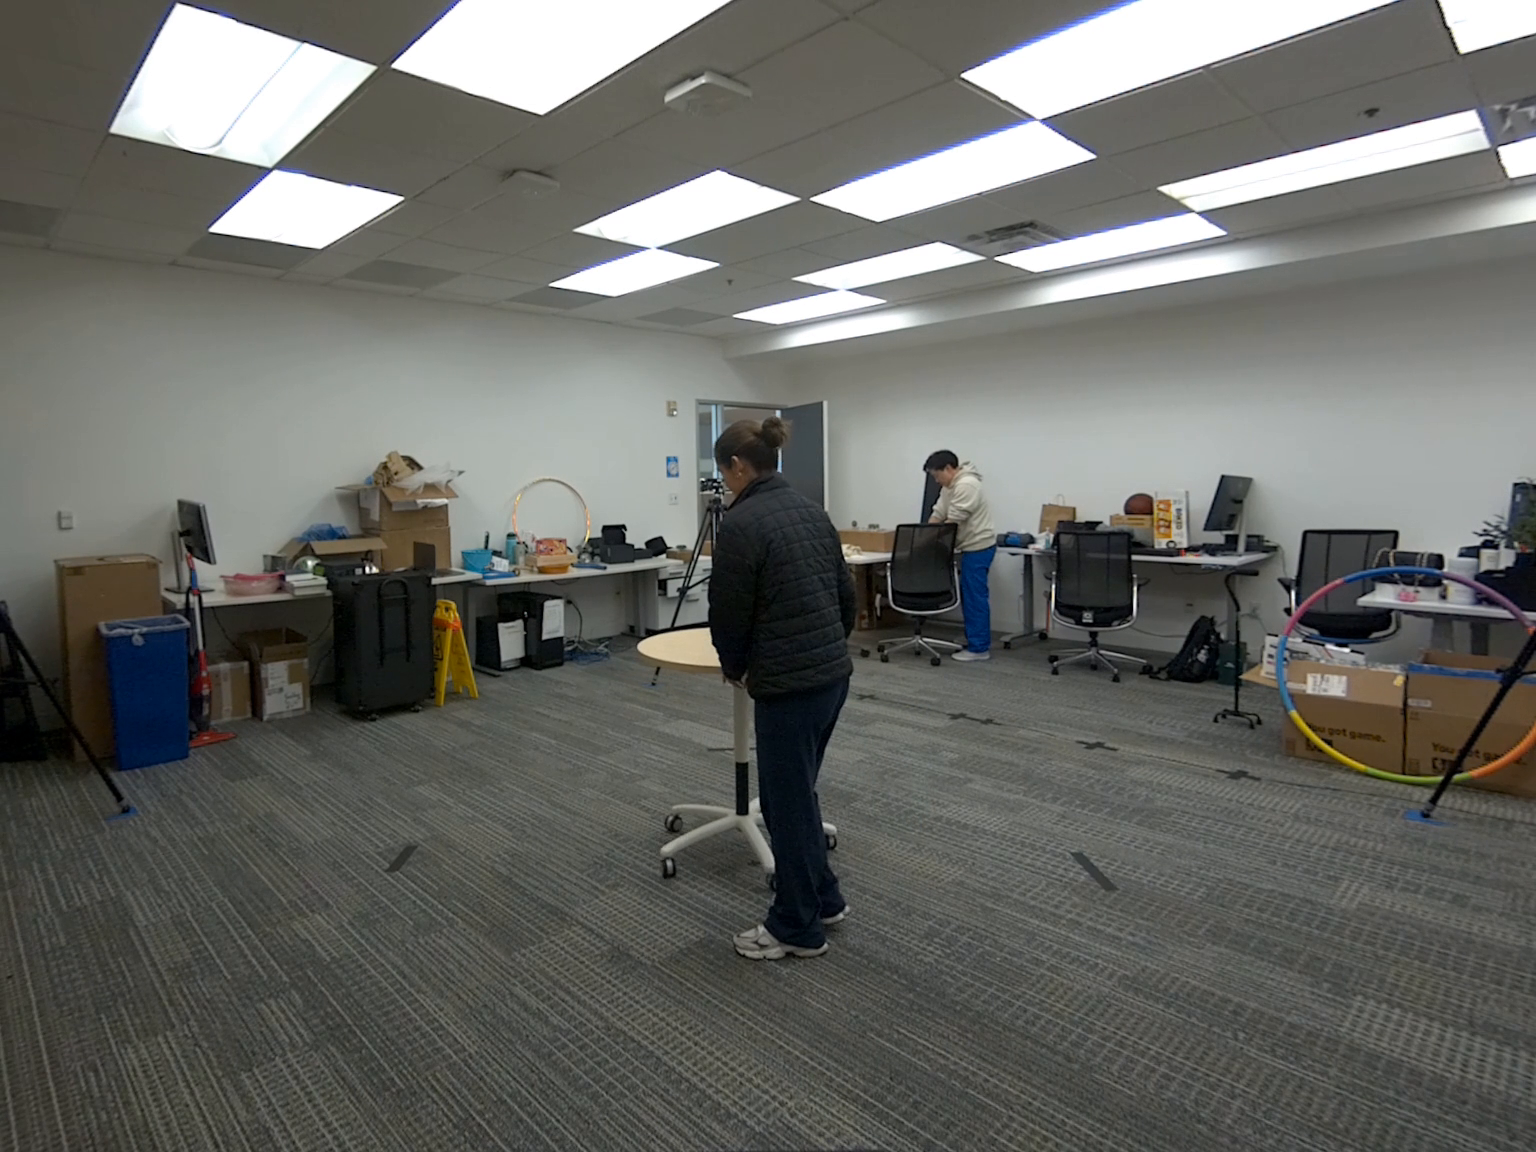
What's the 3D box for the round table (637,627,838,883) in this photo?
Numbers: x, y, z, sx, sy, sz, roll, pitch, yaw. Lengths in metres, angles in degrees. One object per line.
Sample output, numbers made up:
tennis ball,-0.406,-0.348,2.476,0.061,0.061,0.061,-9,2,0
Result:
round table,-0.088,0.641,3.200,0.784,0.783,0.789,-1,5,-2
